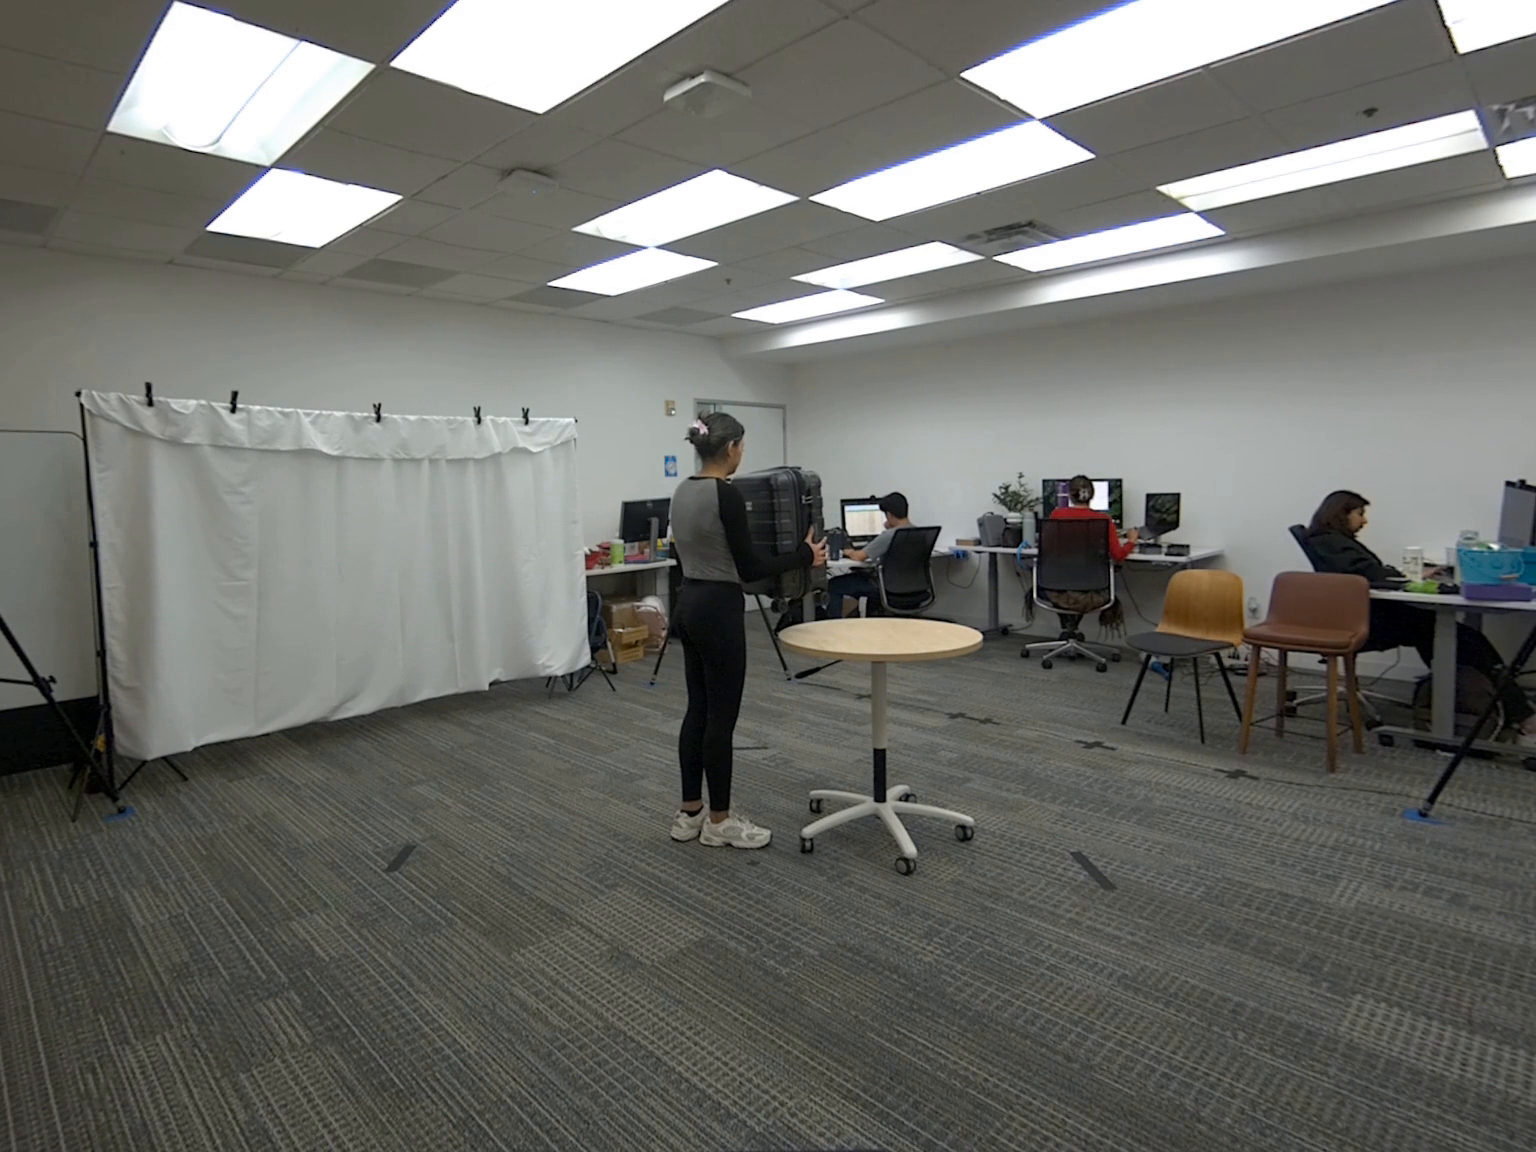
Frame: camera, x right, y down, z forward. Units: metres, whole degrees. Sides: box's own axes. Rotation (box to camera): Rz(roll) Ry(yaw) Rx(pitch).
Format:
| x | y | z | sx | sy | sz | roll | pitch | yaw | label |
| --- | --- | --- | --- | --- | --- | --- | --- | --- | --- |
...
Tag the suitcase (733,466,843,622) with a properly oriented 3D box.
| x | y | z | sx | sy | sz | roll | pitch | yaw | label |
| --- | --- | --- | --- | --- | --- | --- | --- | --- | --- |
| 0.040 | -0.160 | 3.429 | 0.242 | 0.547 | 0.386 | -6 | 6 | -35 | suitcase |
